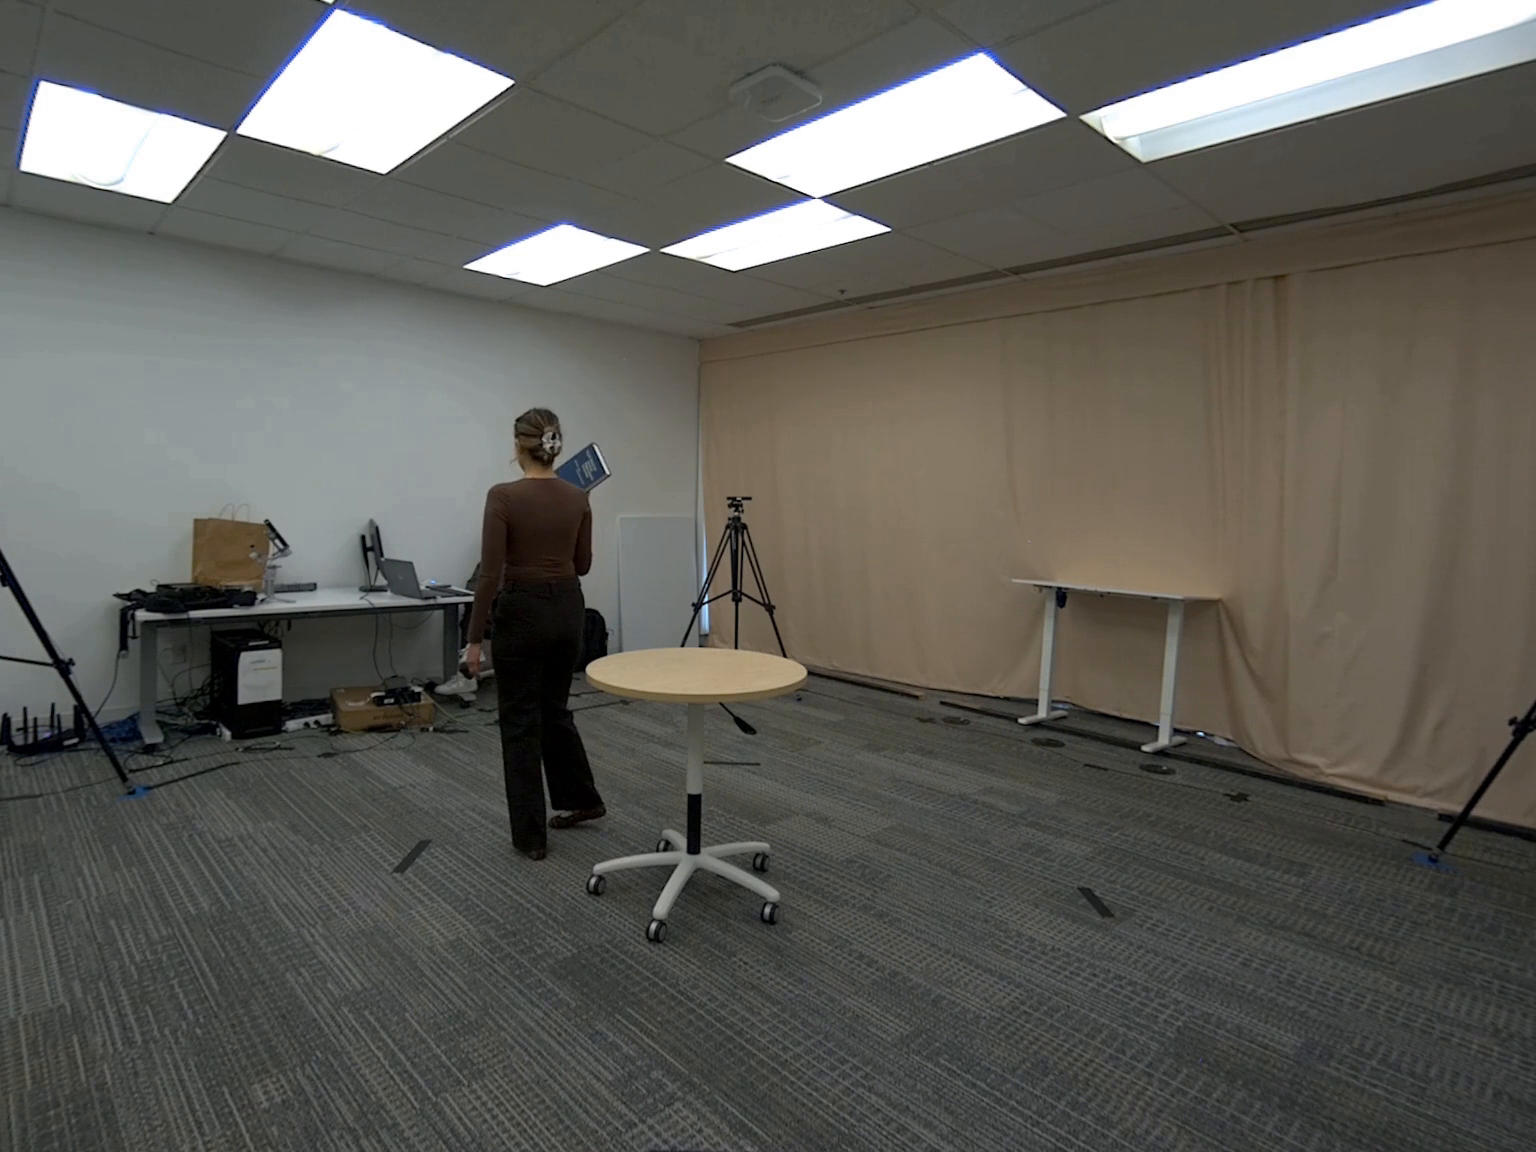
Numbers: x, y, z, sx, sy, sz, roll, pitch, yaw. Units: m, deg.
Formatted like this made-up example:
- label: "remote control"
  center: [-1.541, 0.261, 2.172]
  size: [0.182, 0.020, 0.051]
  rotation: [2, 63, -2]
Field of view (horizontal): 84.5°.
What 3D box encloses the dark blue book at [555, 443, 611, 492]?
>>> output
- label: "dark blue book"
  center: [-0.807, -0.432, 3.564]
  size: [0.246, 0.166, 0.044]
  rotation: [-33, -20, 14]
